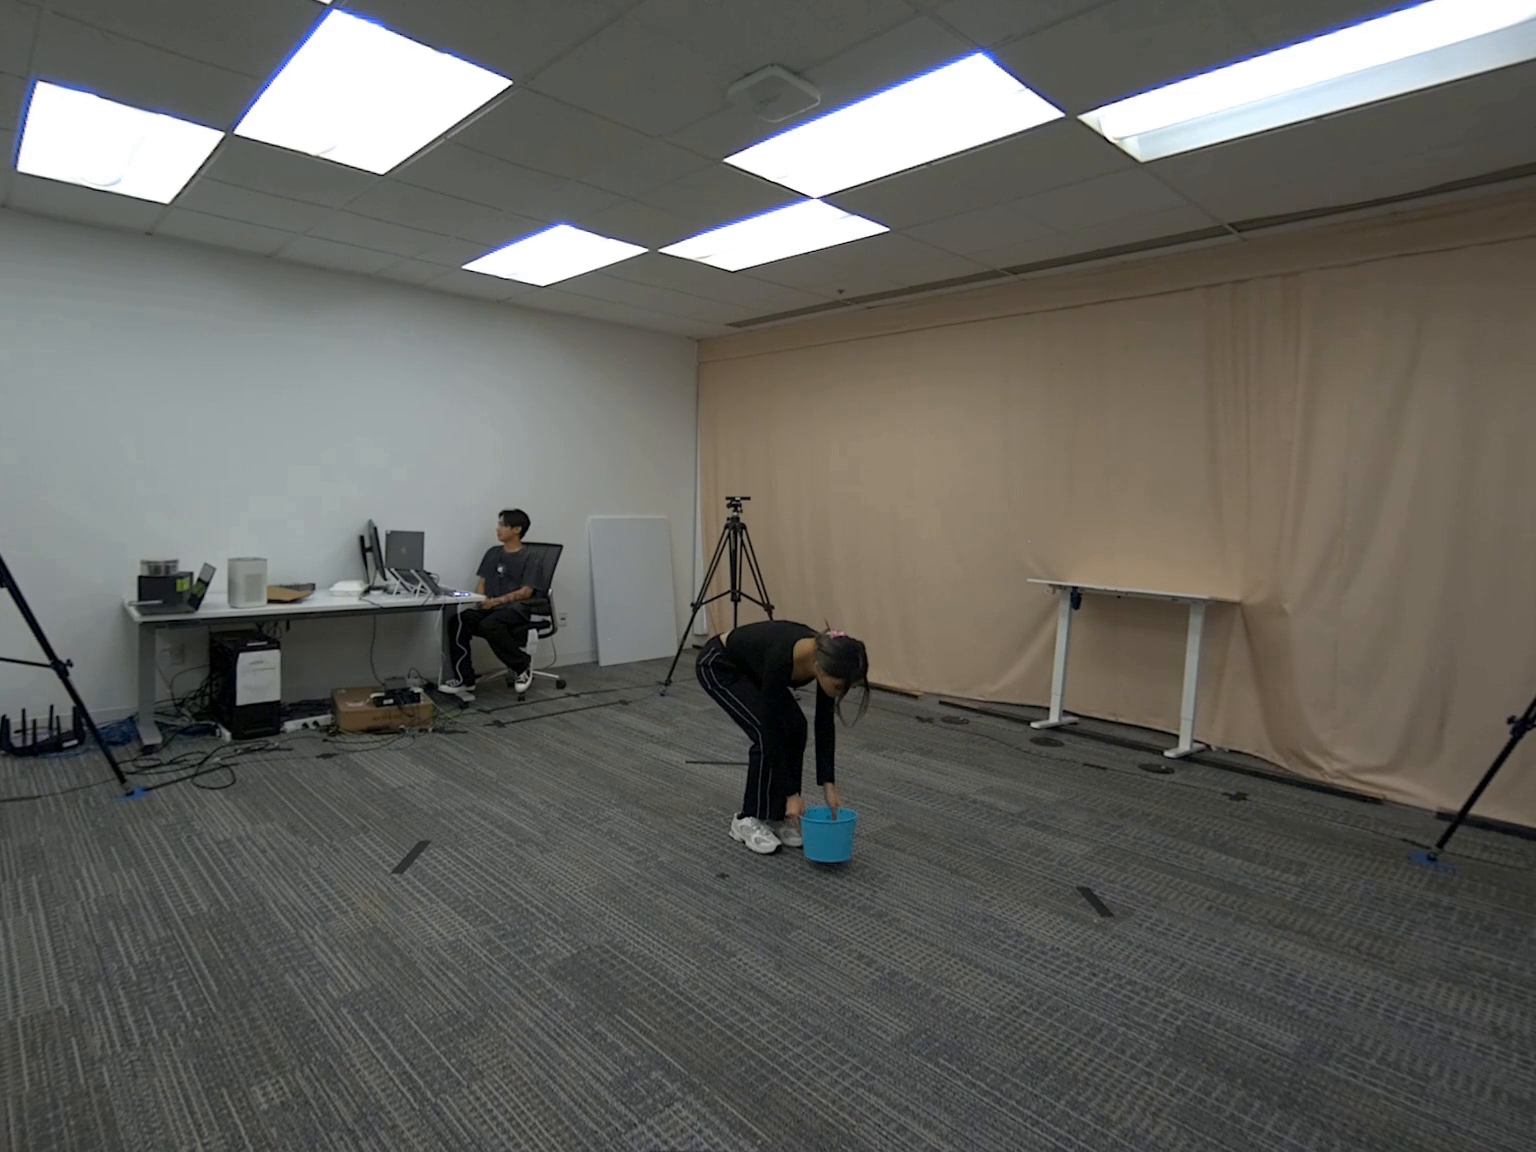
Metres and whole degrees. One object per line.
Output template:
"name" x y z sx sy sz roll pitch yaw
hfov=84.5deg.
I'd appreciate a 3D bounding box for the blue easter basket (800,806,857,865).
"blue easter basket" 0.218 0.977 3.198 0.243 0.156 0.243 -2 -2 -1
